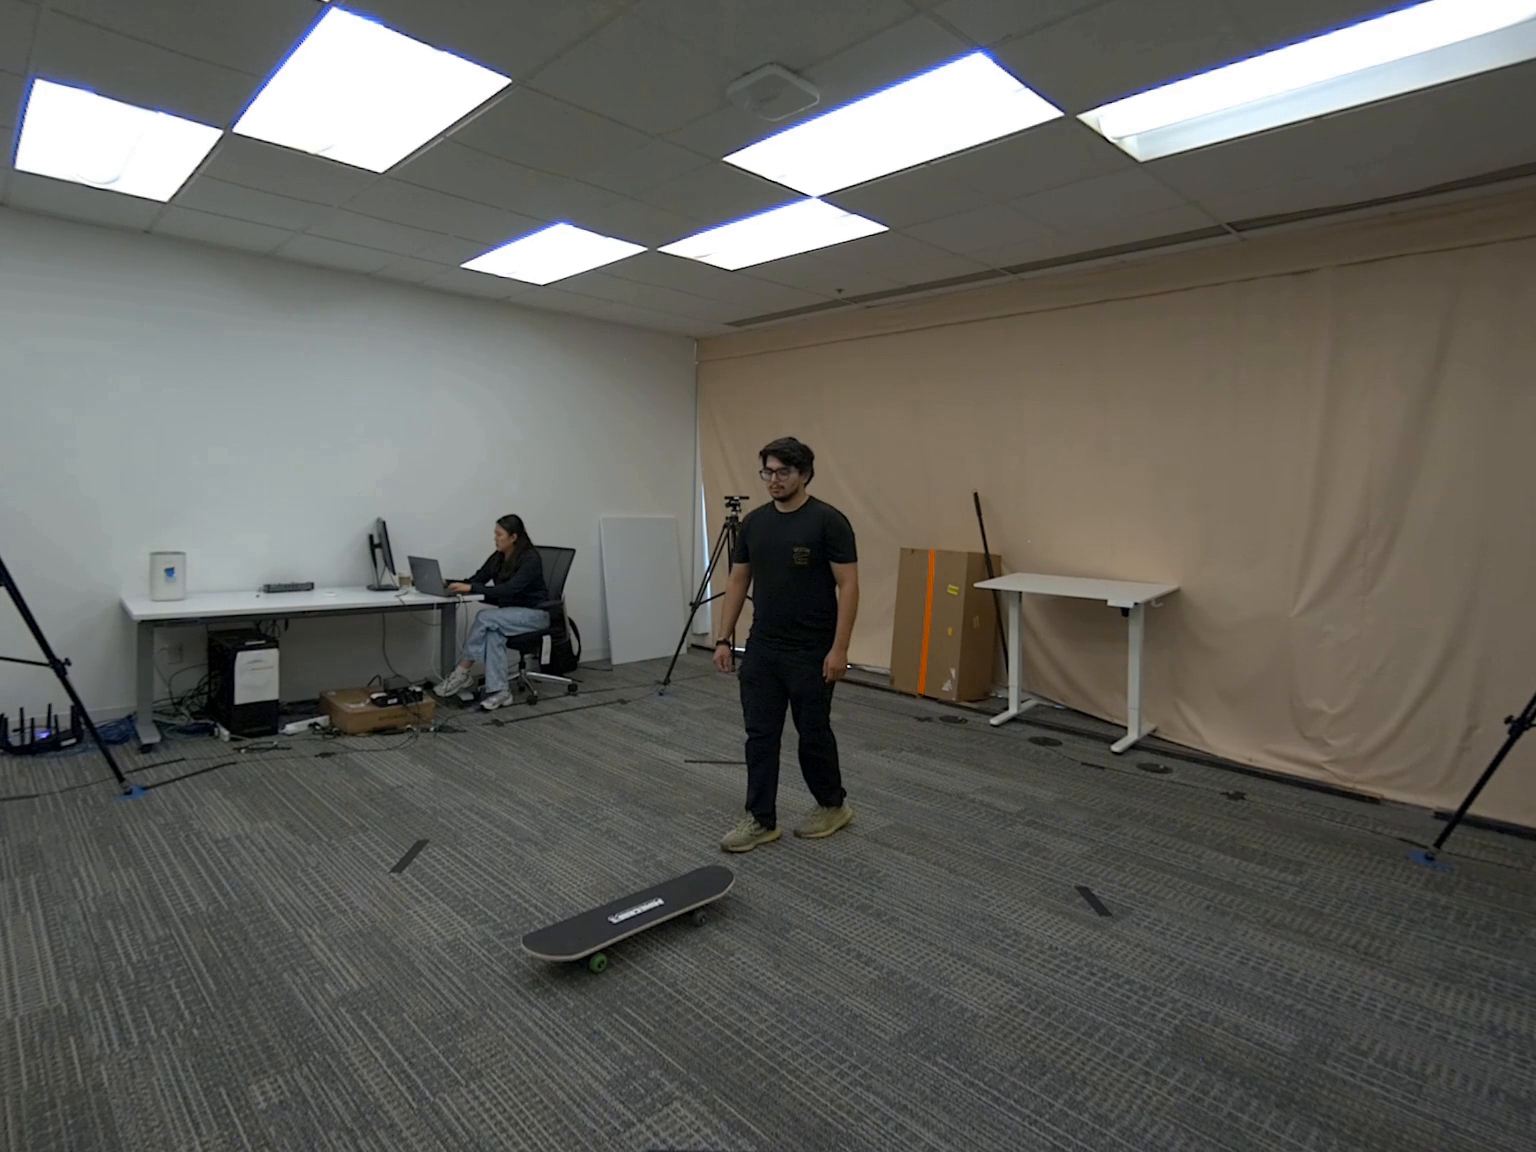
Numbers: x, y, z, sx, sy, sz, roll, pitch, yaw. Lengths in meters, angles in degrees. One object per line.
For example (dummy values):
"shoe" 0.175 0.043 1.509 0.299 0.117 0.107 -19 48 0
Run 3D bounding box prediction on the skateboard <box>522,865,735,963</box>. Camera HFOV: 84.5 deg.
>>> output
"skateboard" -0.417 1.082 2.647 0.198 0.110 0.768 5 7 44
